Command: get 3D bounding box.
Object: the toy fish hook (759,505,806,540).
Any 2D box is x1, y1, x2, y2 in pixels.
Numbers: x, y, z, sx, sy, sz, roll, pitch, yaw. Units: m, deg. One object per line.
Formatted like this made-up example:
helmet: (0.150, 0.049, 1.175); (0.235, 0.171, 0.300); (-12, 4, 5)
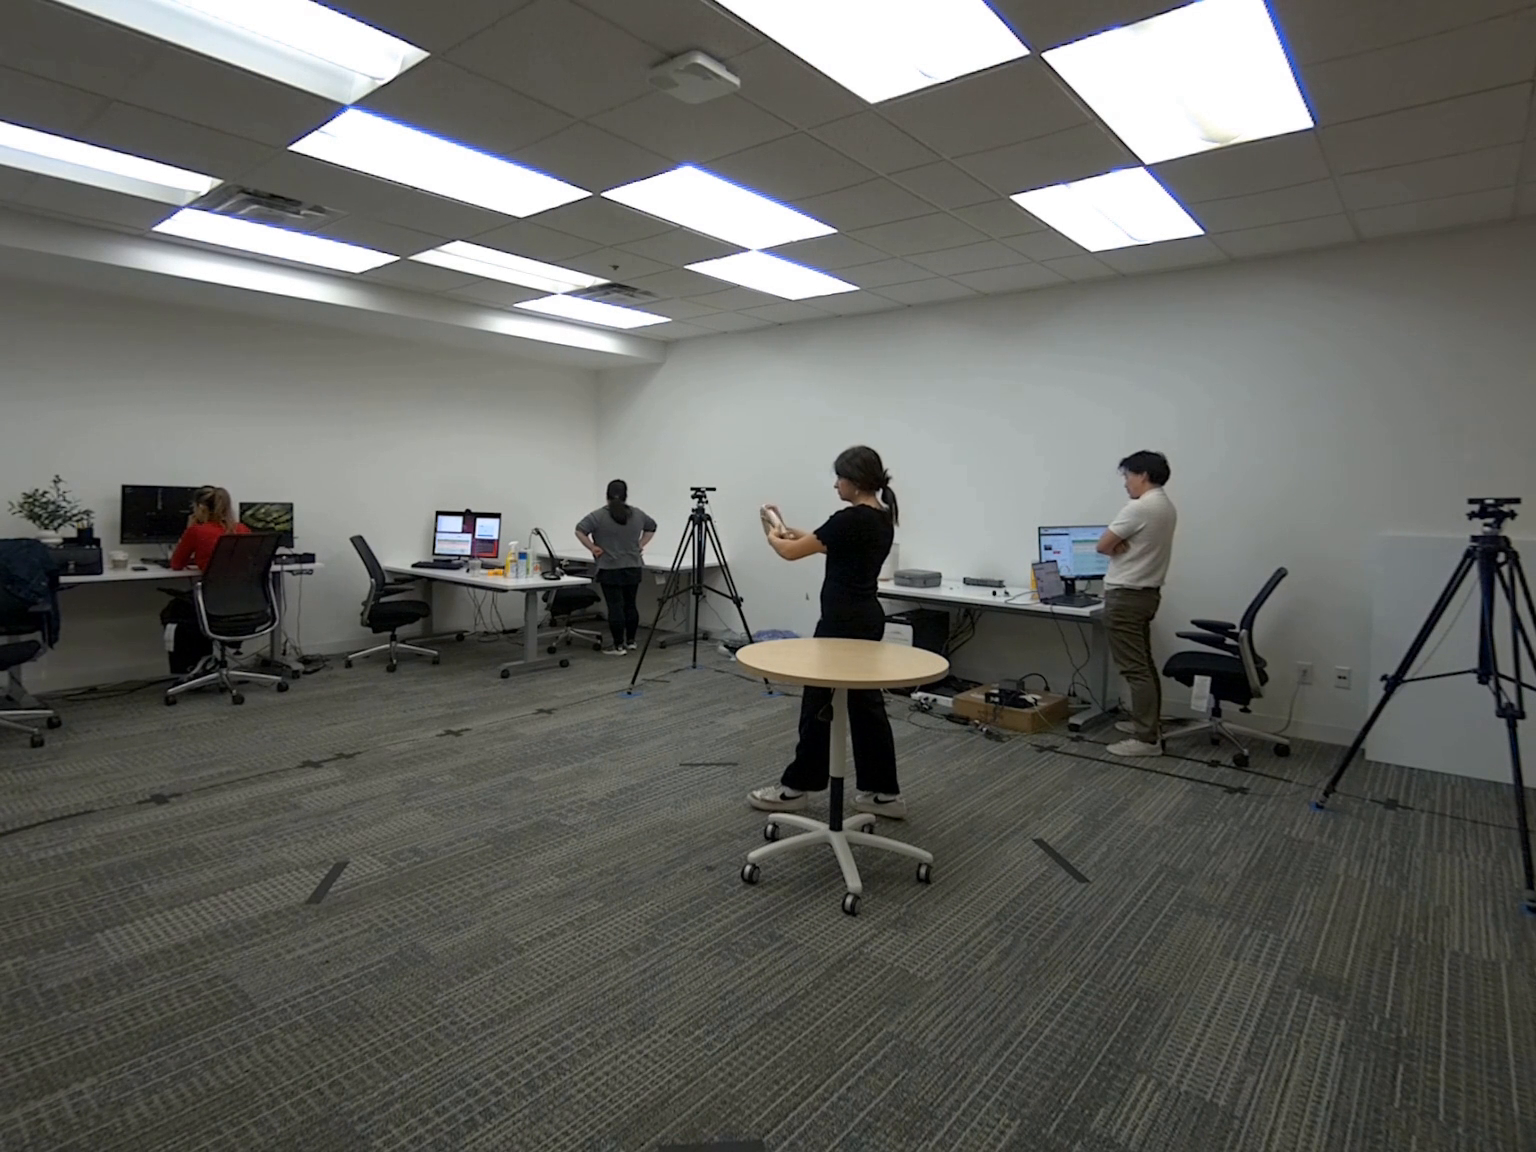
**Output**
toy fish hook: (0.057, -0.172, 3.927); (0.048, 0.218, 0.527); (-22, 33, -16)
